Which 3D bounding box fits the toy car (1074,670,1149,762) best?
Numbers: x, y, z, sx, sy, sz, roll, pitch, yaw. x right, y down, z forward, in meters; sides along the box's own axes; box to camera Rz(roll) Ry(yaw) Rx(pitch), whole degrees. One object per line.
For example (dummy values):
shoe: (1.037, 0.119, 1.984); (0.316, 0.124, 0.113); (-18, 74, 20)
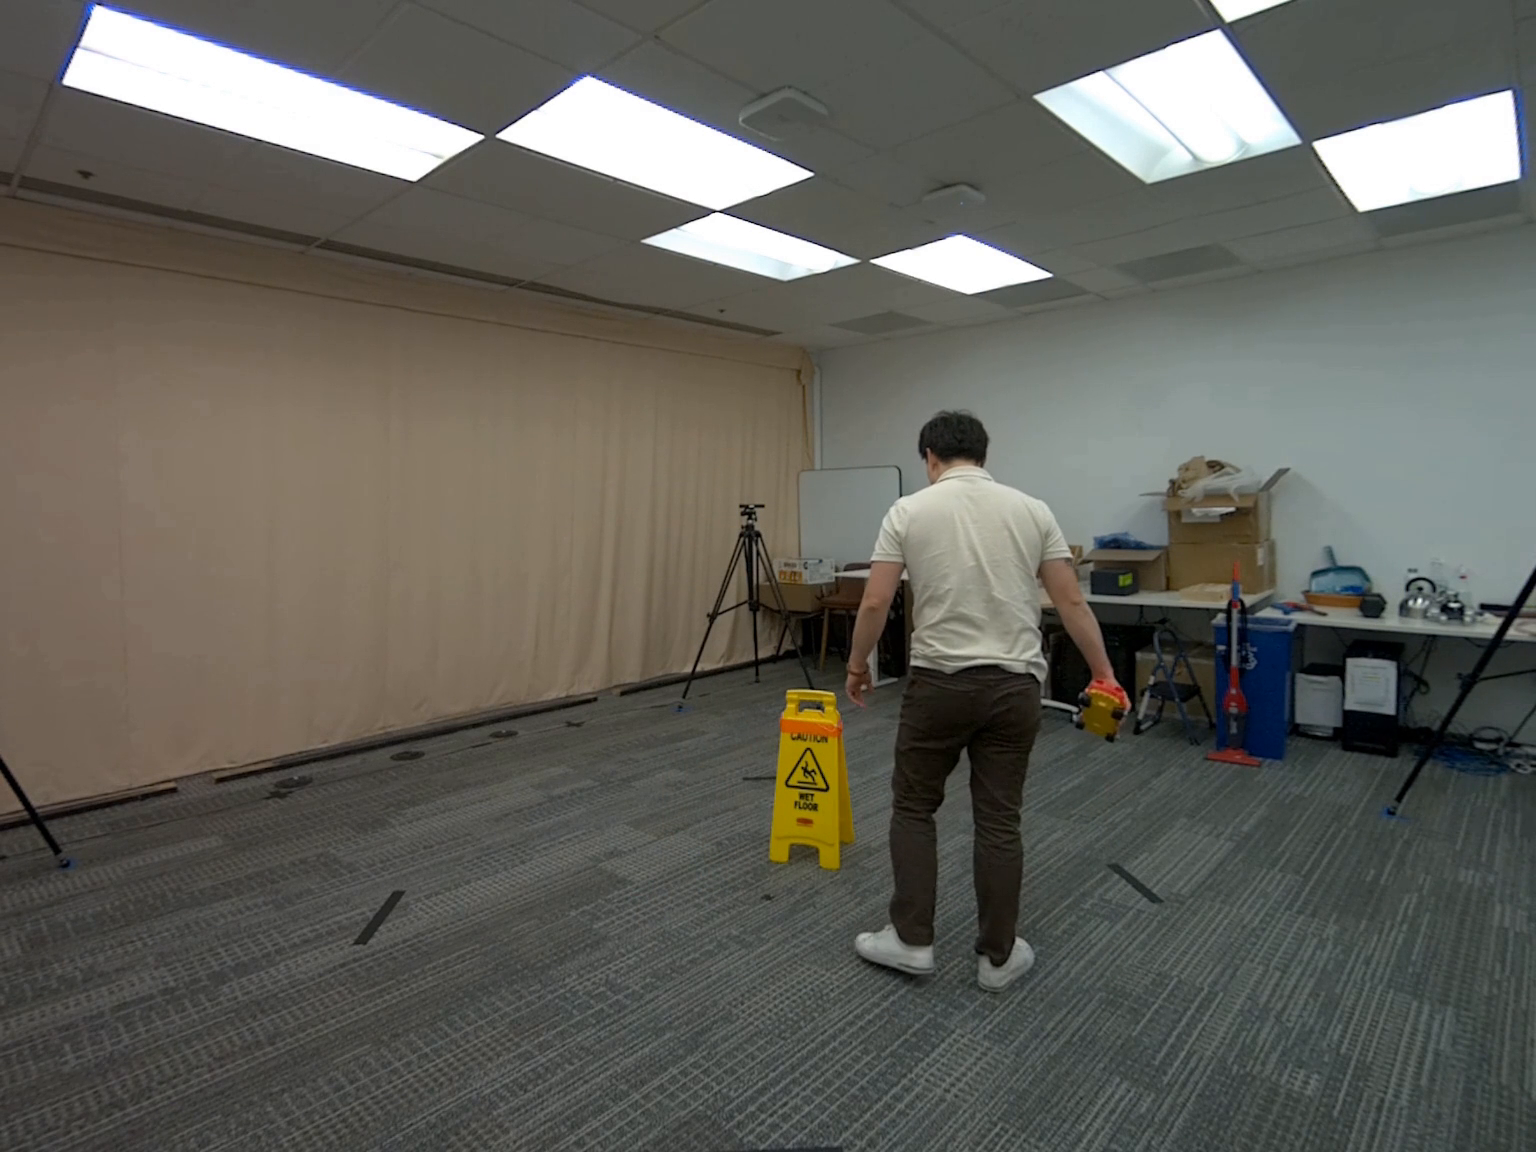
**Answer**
toy car: (0.970, 0.391, 2.406); (0.134, 0.249, 0.082); (23, 49, 28)
